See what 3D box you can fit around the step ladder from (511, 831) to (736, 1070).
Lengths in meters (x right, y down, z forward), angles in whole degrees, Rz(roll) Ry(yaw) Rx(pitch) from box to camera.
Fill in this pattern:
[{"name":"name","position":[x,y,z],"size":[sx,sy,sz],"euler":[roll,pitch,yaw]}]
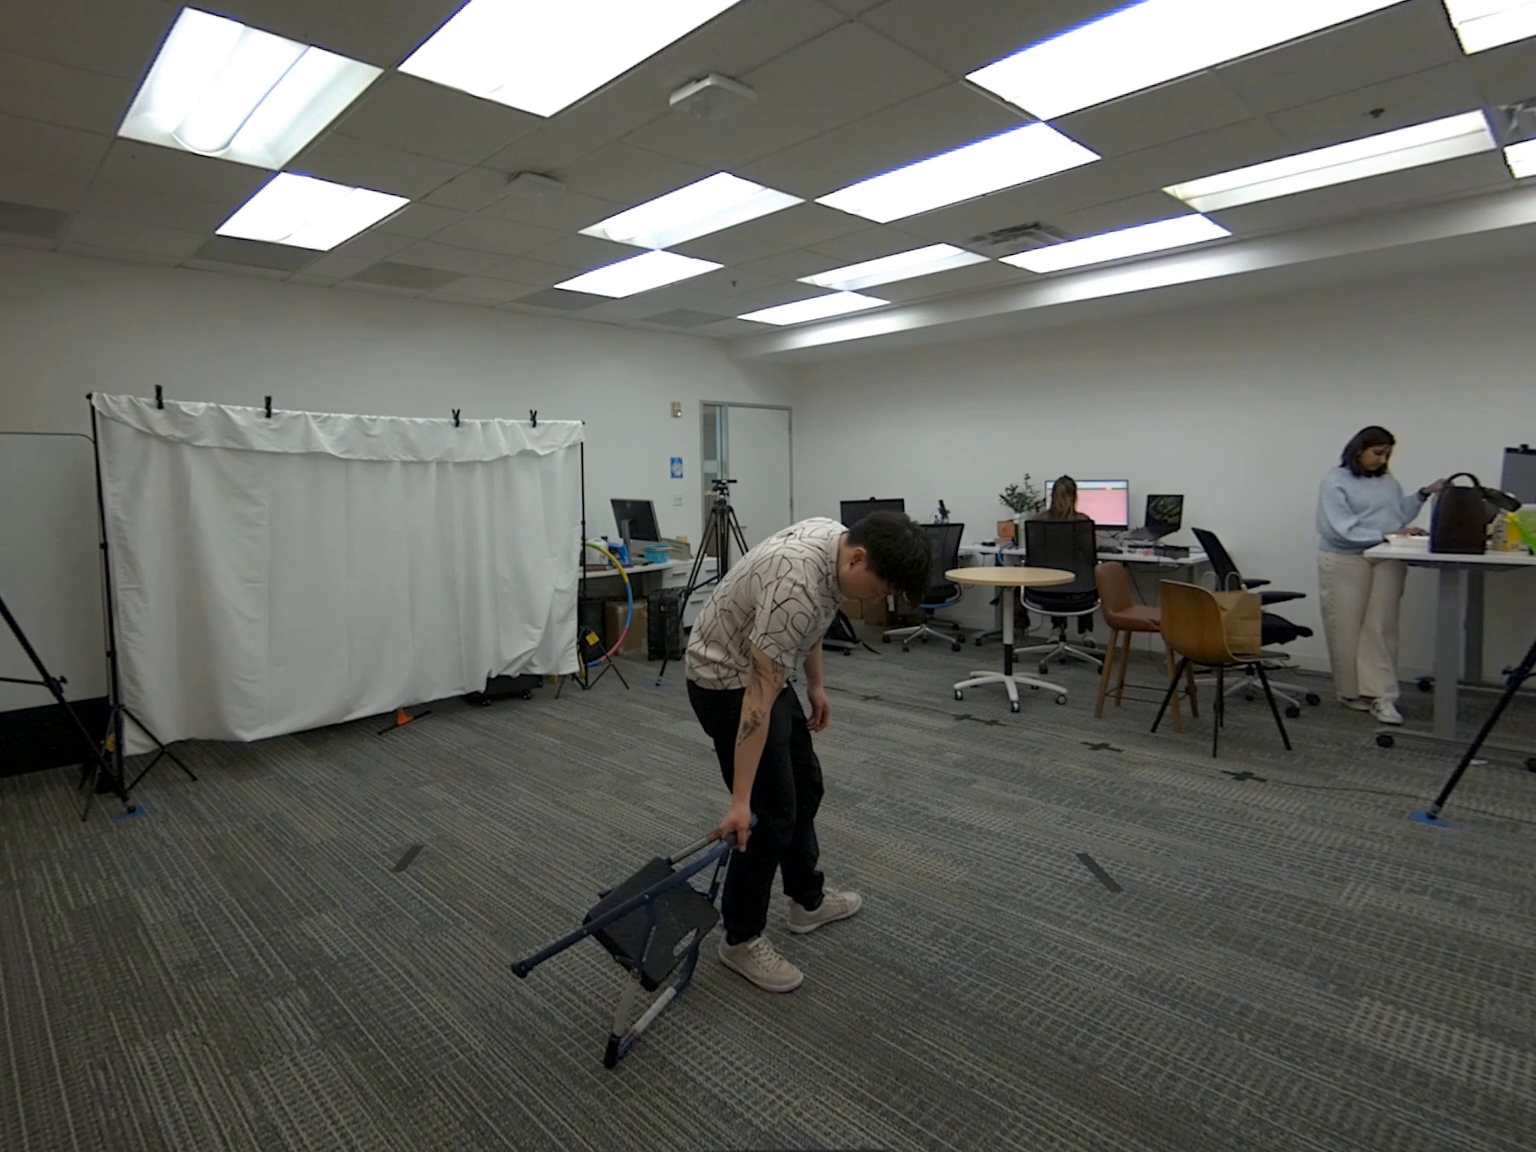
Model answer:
[{"name":"step ladder","position":[-0.273,0.826,2.179],"size":[0.357,0.603,0.423],"euler":[37,18,15]}]
